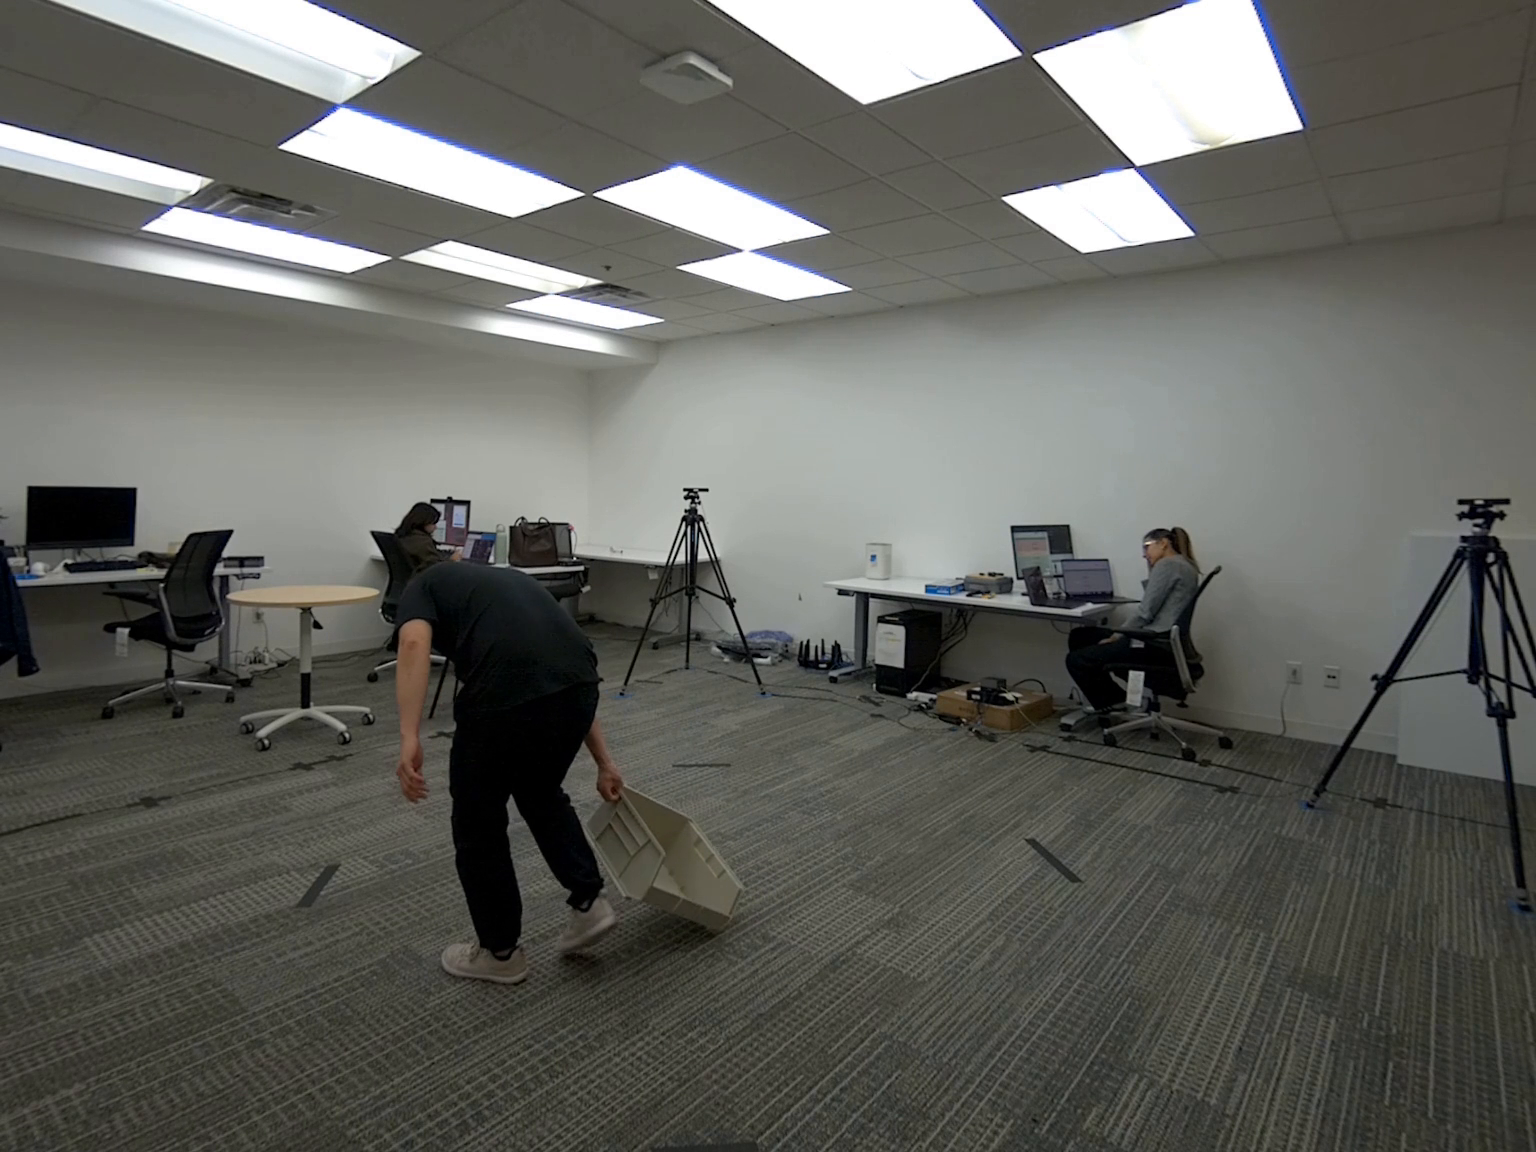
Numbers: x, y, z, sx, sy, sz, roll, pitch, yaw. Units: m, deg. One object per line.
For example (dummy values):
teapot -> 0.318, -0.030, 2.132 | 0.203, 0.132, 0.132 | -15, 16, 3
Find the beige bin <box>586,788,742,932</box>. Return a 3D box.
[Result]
beige bin -> -0.336, 0.886, 2.665 | 0.393, 0.189, 0.404 | 35, -4, 47
